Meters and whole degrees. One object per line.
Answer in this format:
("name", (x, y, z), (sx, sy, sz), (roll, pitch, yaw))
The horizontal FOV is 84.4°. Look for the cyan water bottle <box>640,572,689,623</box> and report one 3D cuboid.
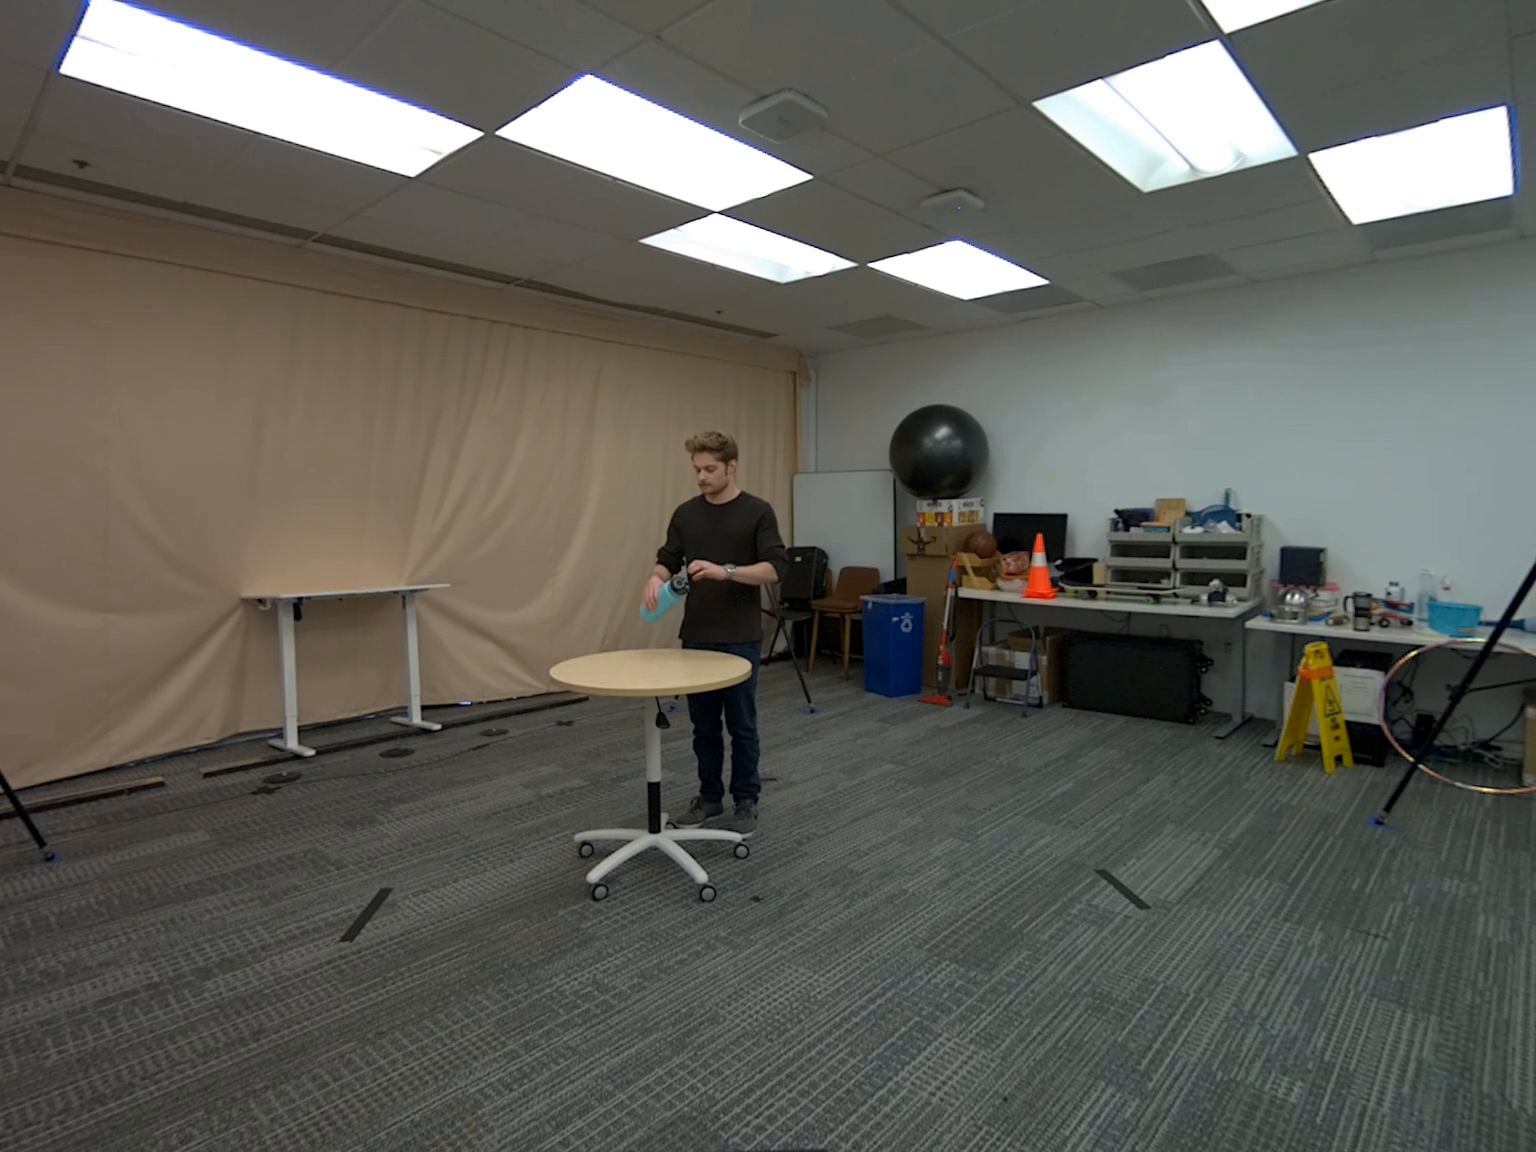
("cyan water bottle", (-0.416, 0.091, 3.419), (0.089, 0.094, 0.286), (-3, -27, -41))
